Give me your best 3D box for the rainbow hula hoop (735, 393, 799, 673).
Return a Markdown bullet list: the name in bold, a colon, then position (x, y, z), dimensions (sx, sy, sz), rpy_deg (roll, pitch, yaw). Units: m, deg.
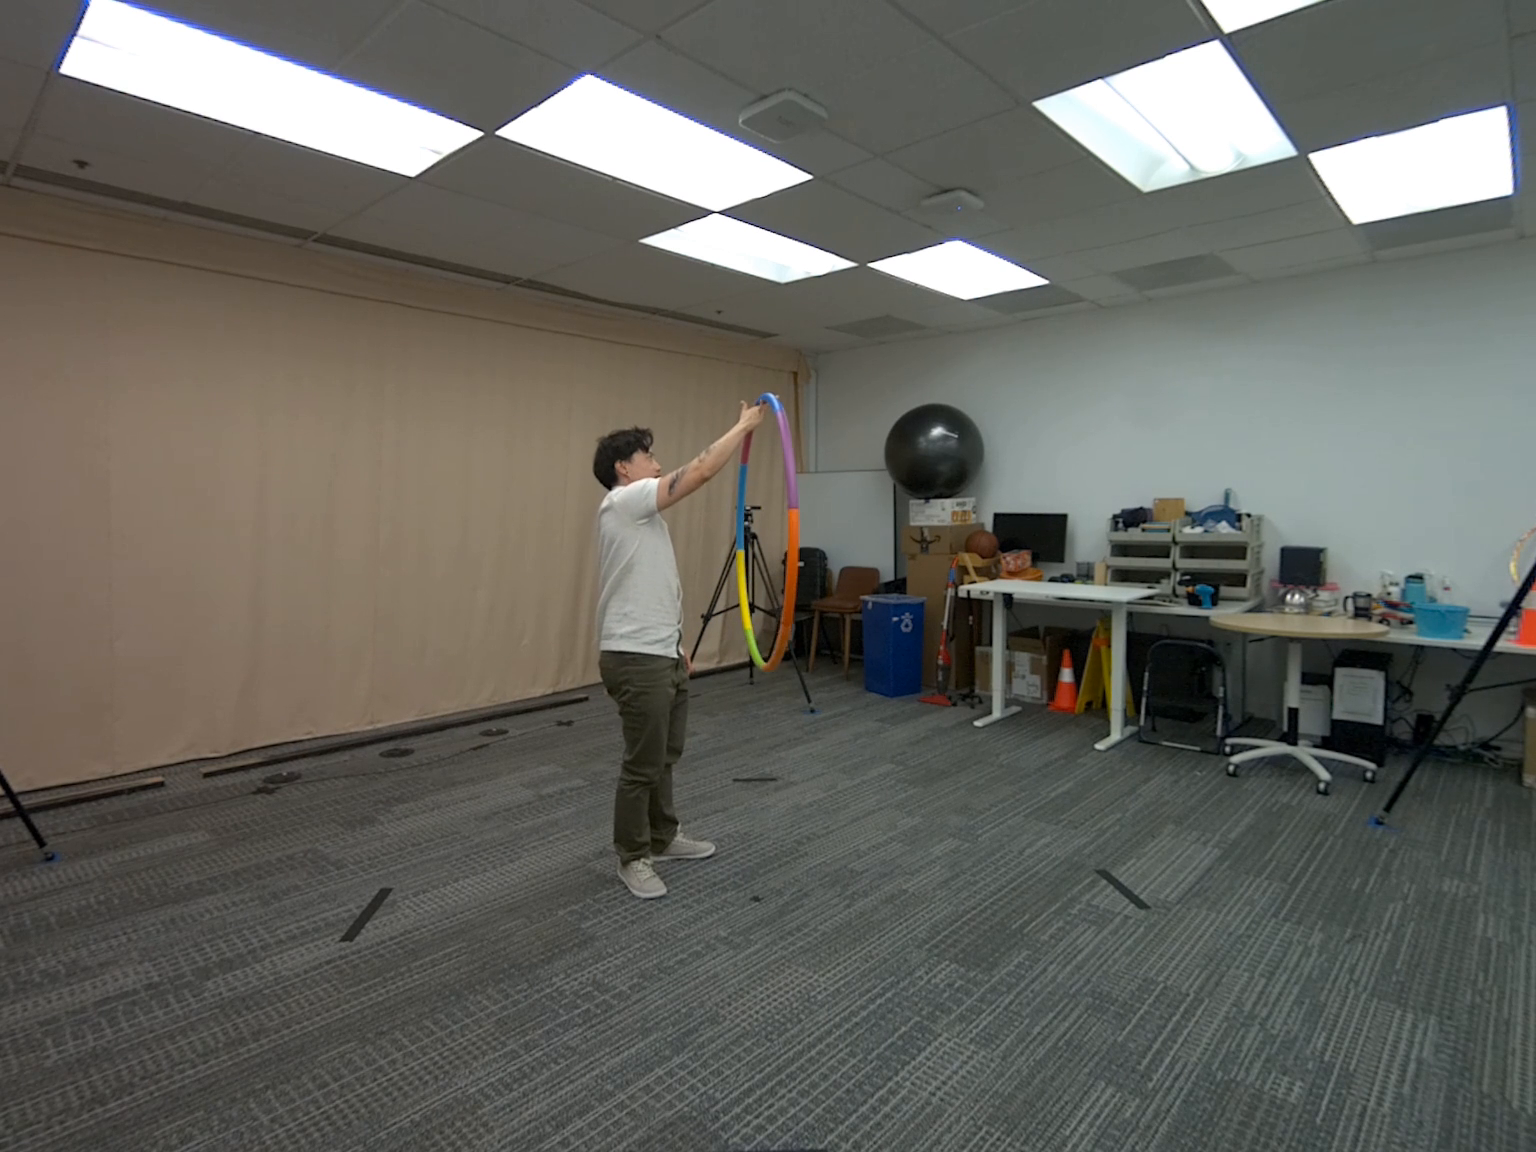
- **rainbow hula hoop**: position (-0.015, -0.156, 3.022), dimensions (0.035, 0.977, 0.992), rpy_deg (1, 4, -13)
